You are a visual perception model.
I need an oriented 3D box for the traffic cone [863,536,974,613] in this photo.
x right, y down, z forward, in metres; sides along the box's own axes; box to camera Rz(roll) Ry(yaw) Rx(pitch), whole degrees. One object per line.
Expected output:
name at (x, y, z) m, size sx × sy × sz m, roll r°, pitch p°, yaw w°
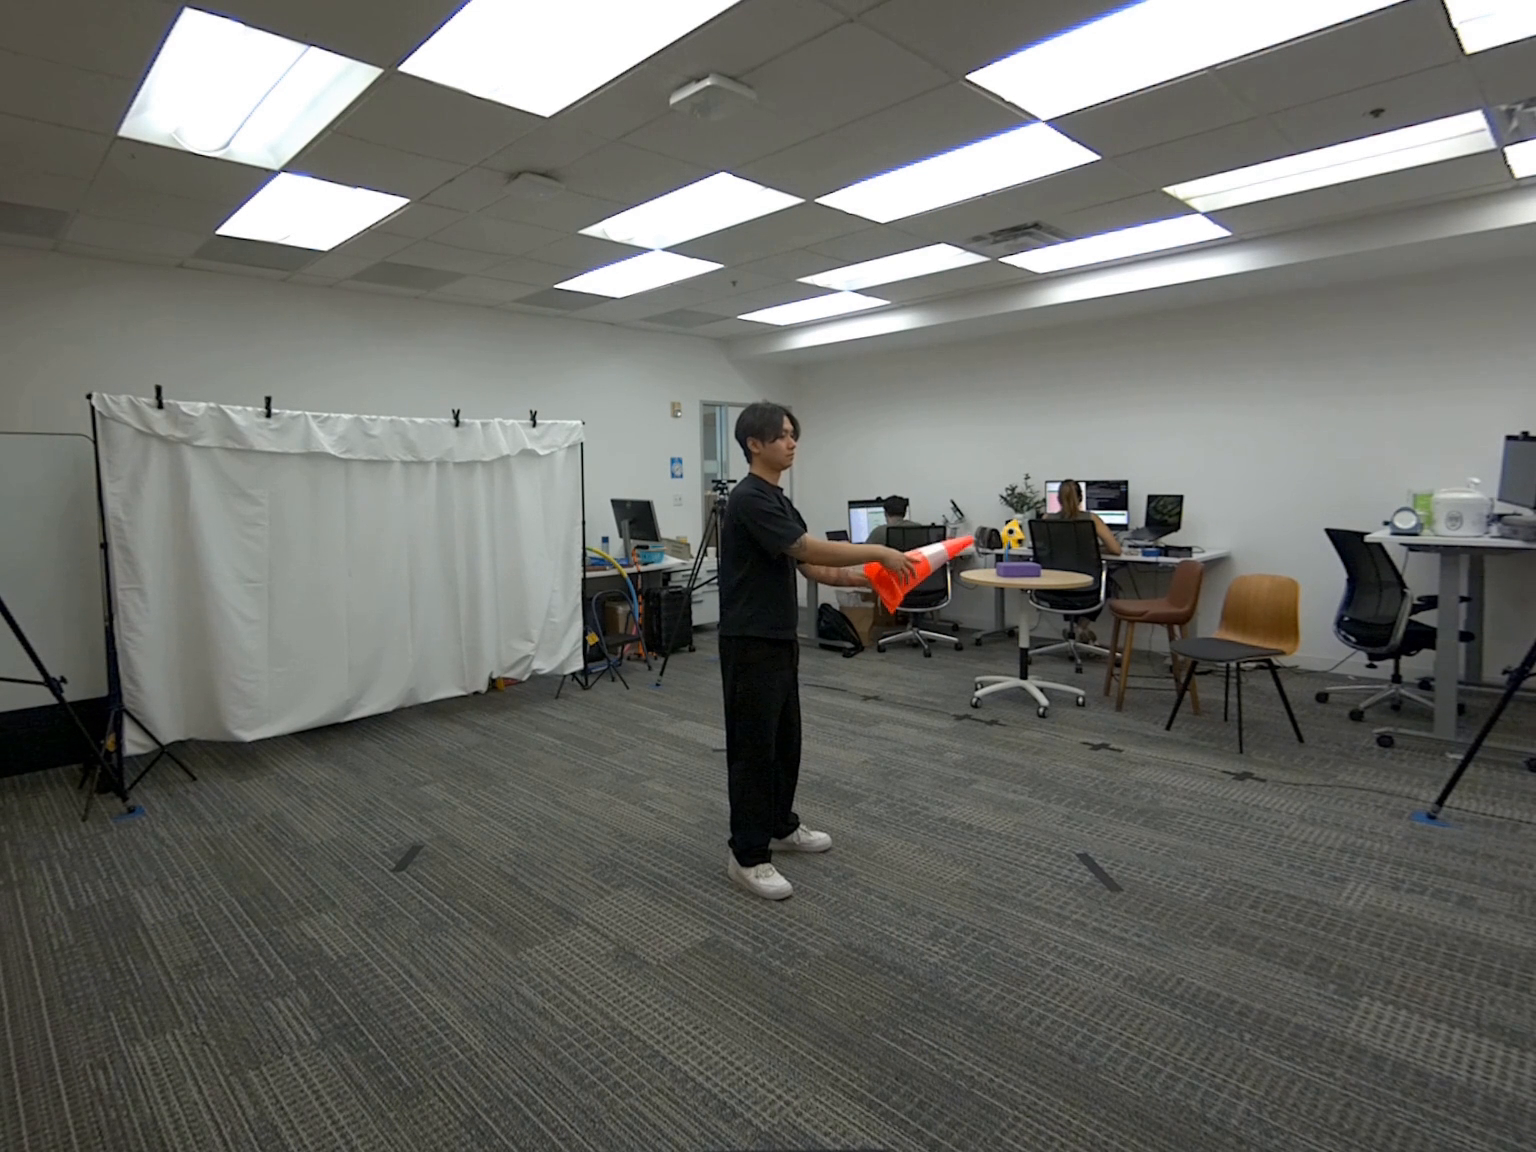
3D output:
traffic cone at (0.563, -0.053, 3.026) m, size 0.382 × 0.212 × 0.197 m, roll -24°, pitch -36°, yaw -8°
